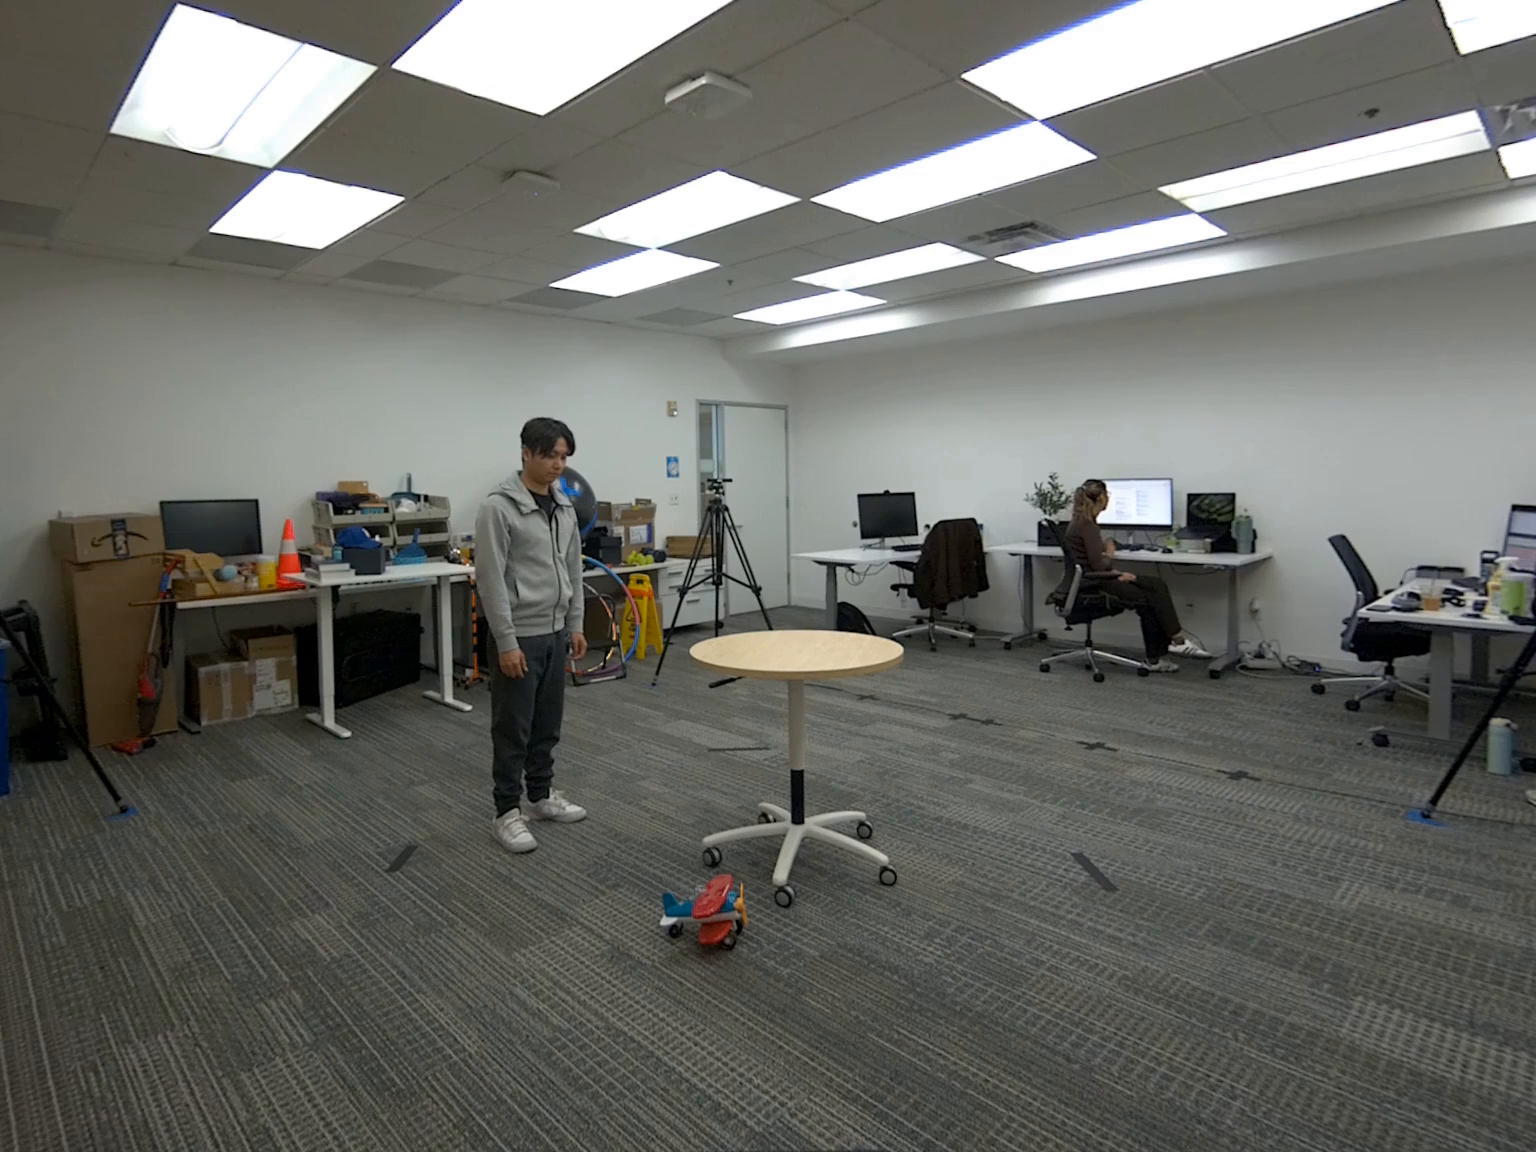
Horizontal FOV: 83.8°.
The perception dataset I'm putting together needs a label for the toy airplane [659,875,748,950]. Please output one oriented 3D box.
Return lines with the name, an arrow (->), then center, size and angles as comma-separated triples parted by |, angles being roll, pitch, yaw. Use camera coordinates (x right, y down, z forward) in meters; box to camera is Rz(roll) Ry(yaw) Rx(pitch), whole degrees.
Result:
toy airplane -> -0.192, 1.033, 2.593 | 0.256, 0.156, 0.256 | -2, 6, -15
